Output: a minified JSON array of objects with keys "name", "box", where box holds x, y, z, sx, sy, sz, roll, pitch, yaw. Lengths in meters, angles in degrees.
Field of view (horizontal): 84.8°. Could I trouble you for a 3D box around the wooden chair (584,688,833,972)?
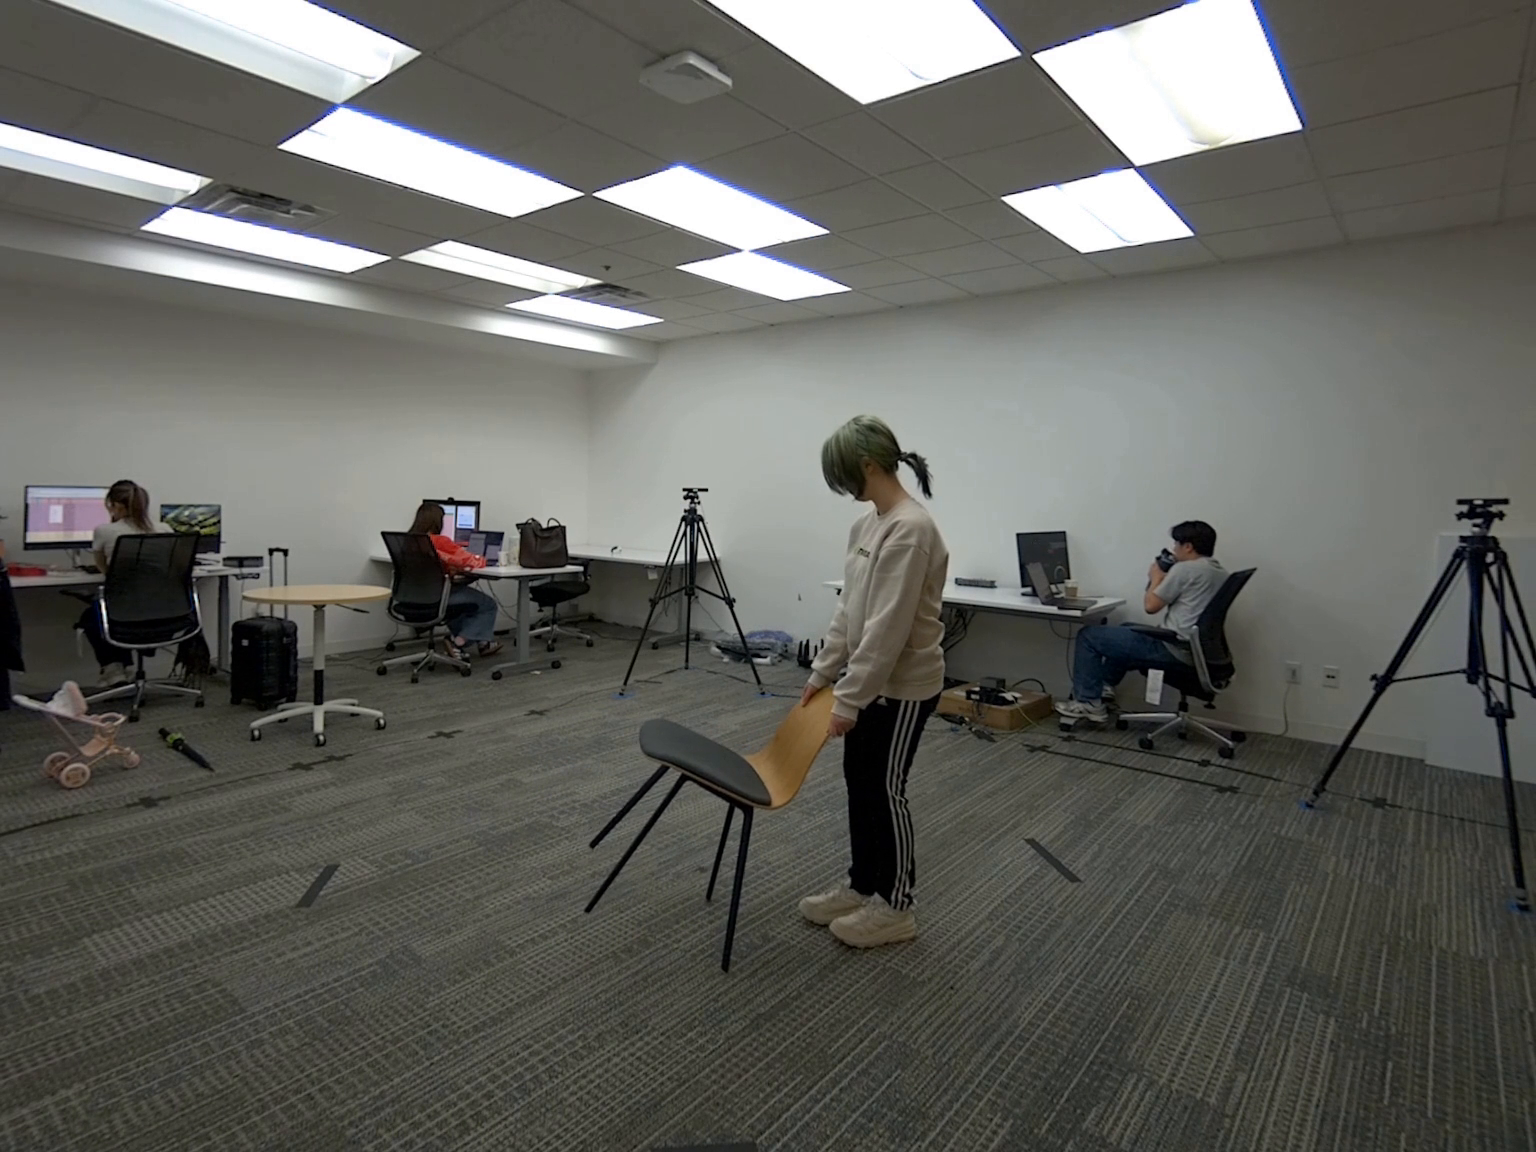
[{"name":"wooden chair","box":[-0.180,0.632,2.634,0.516,0.877,0.485,32,-2,-10]}]
